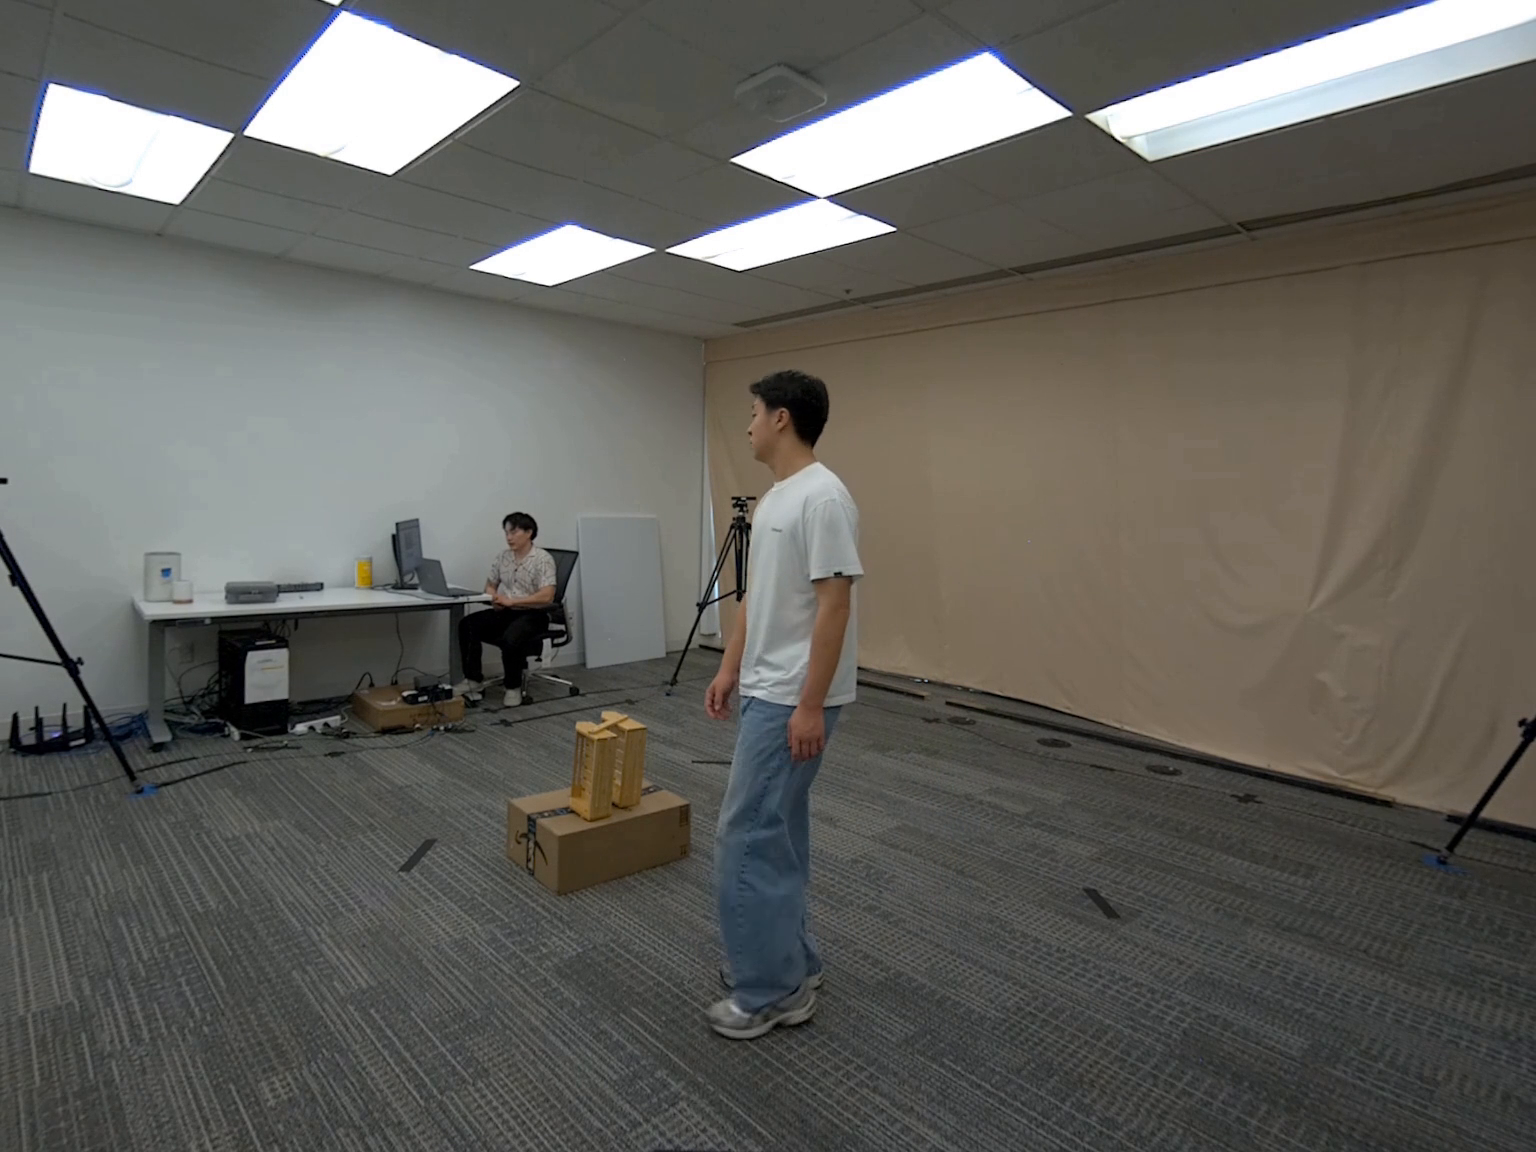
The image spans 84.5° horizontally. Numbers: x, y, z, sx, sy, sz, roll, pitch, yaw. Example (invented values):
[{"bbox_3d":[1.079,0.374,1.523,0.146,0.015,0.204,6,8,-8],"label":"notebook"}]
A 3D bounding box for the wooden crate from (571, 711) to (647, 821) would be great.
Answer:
[{"bbox_3d":[-0.648,0.710,3.215,0.266,0.323,0.310,2,6,-43],"label":"wooden crate"}]
